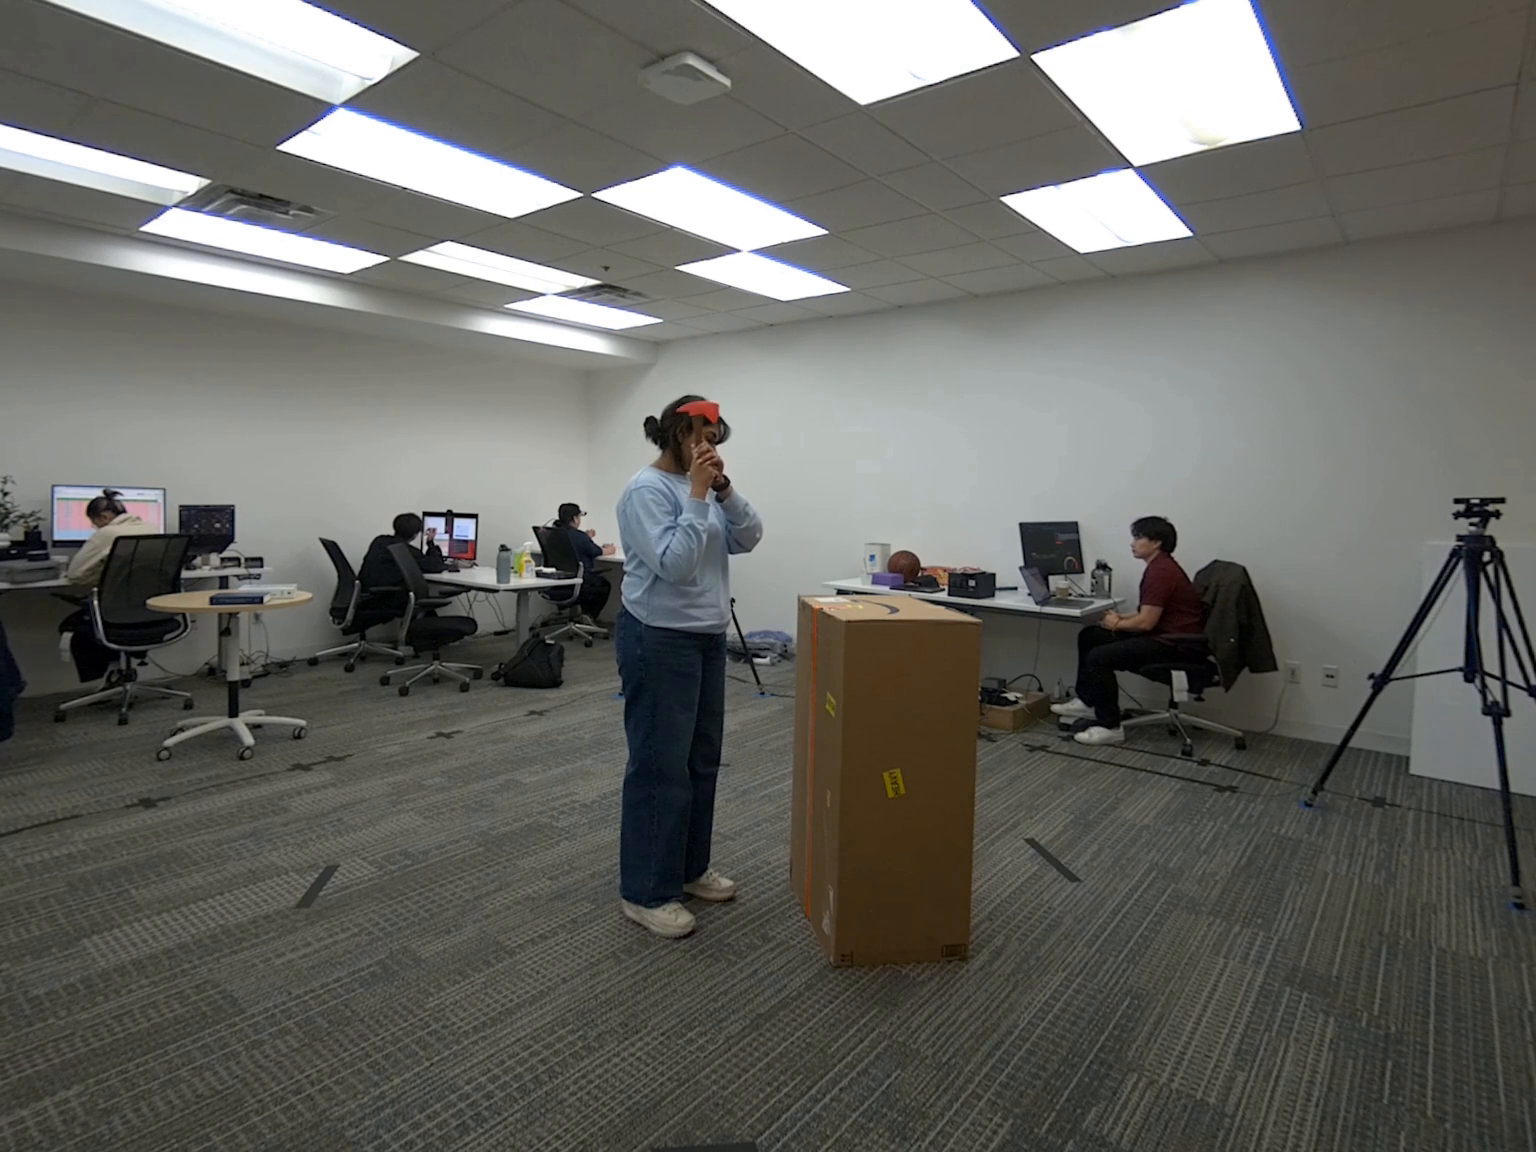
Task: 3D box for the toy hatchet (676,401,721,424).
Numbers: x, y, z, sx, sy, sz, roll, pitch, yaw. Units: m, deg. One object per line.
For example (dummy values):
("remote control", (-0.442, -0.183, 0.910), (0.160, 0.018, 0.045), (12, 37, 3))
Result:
("toy hatchet", (-0.172, -0.420, 2.591), (0.132, 0.271, 0.029), (-24, -4, 12))
